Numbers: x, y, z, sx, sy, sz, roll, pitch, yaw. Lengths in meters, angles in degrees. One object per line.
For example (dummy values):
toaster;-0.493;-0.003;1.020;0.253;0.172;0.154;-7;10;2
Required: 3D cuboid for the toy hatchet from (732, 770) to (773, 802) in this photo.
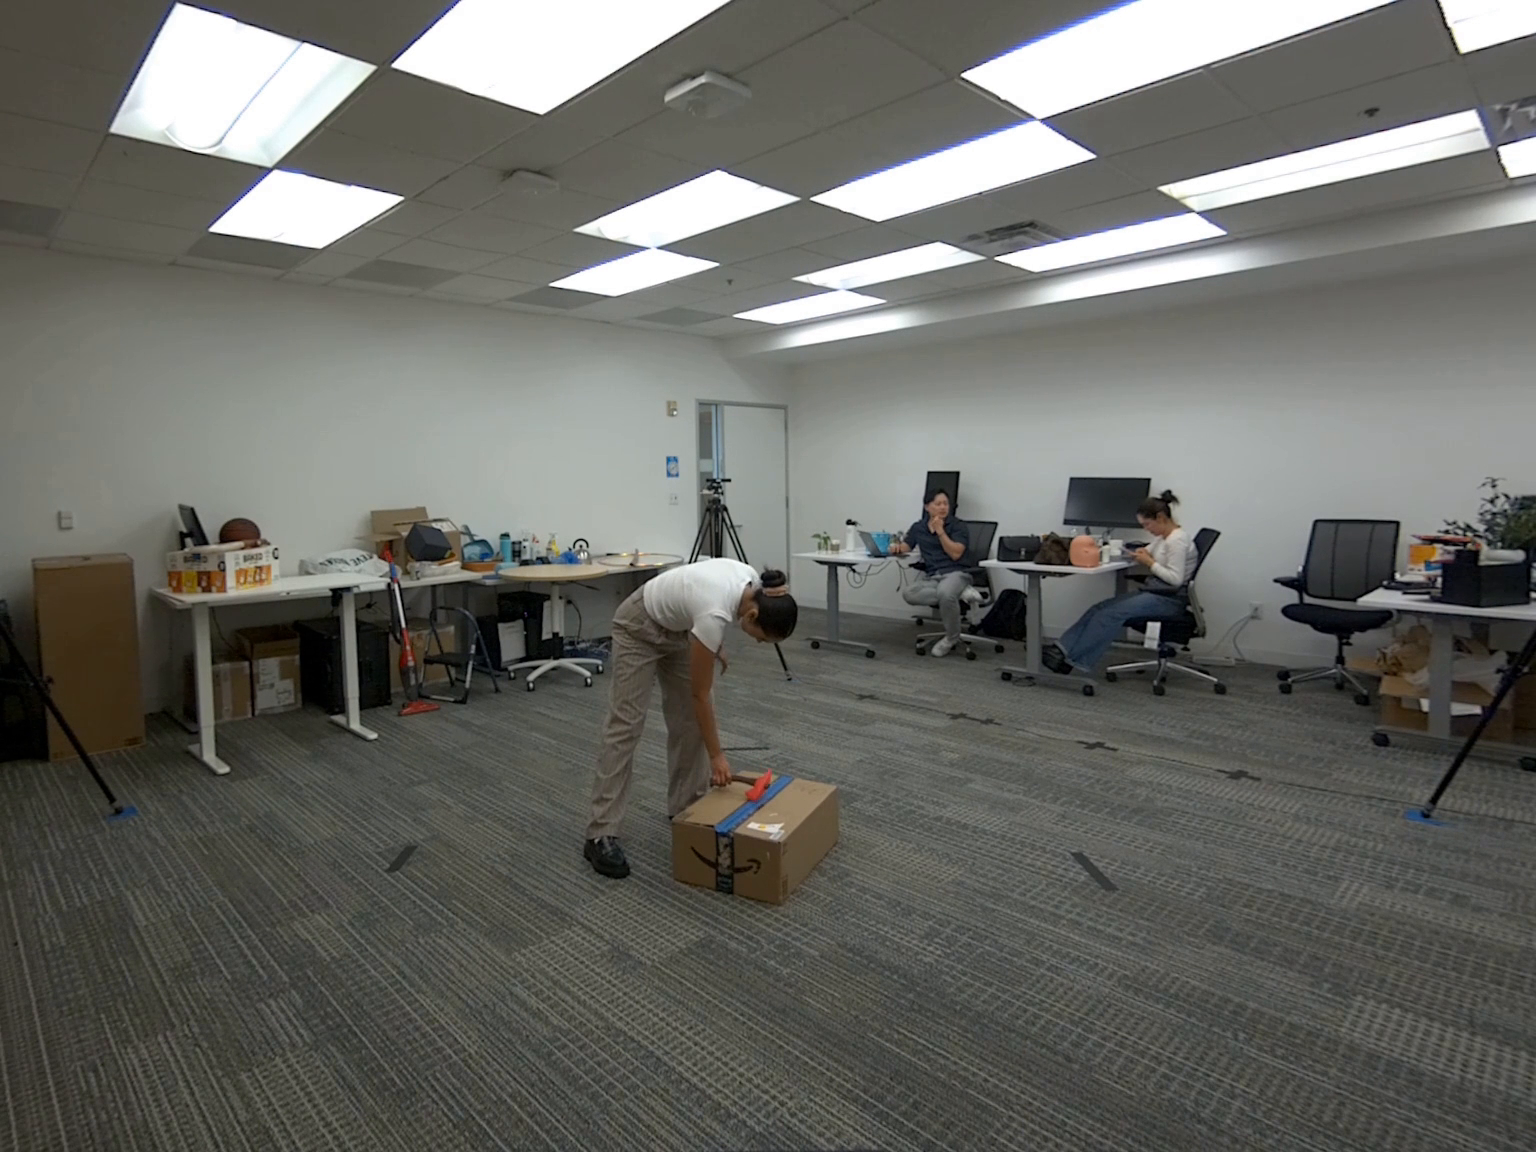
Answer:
toy hatchet;-0.117;0.797;3.184;0.275;0.028;0.133;-14;38;28
